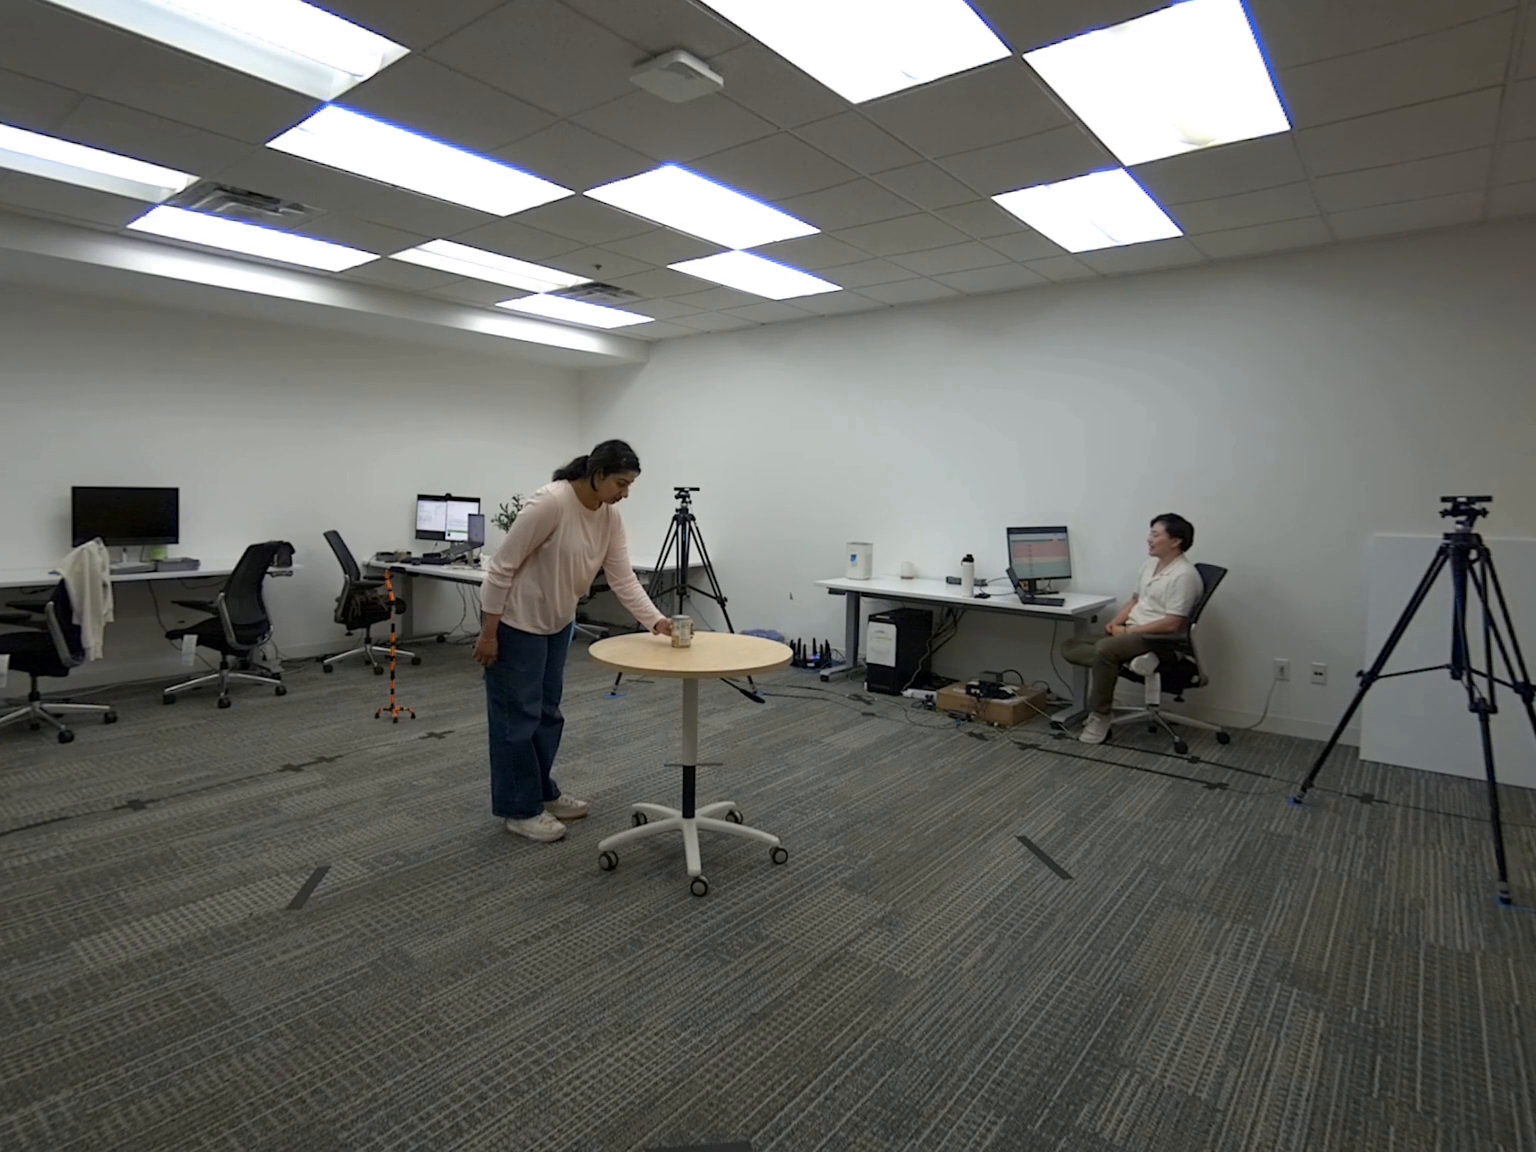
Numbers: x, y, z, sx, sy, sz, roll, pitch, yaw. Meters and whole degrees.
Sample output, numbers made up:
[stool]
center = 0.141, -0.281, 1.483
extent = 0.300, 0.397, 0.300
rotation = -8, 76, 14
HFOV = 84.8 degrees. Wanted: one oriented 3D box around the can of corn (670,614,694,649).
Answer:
[can of corn]
center = -0.341, 0.207, 3.244
extent = 0.074, 0.110, 0.074
rotation = 2, 5, -2
